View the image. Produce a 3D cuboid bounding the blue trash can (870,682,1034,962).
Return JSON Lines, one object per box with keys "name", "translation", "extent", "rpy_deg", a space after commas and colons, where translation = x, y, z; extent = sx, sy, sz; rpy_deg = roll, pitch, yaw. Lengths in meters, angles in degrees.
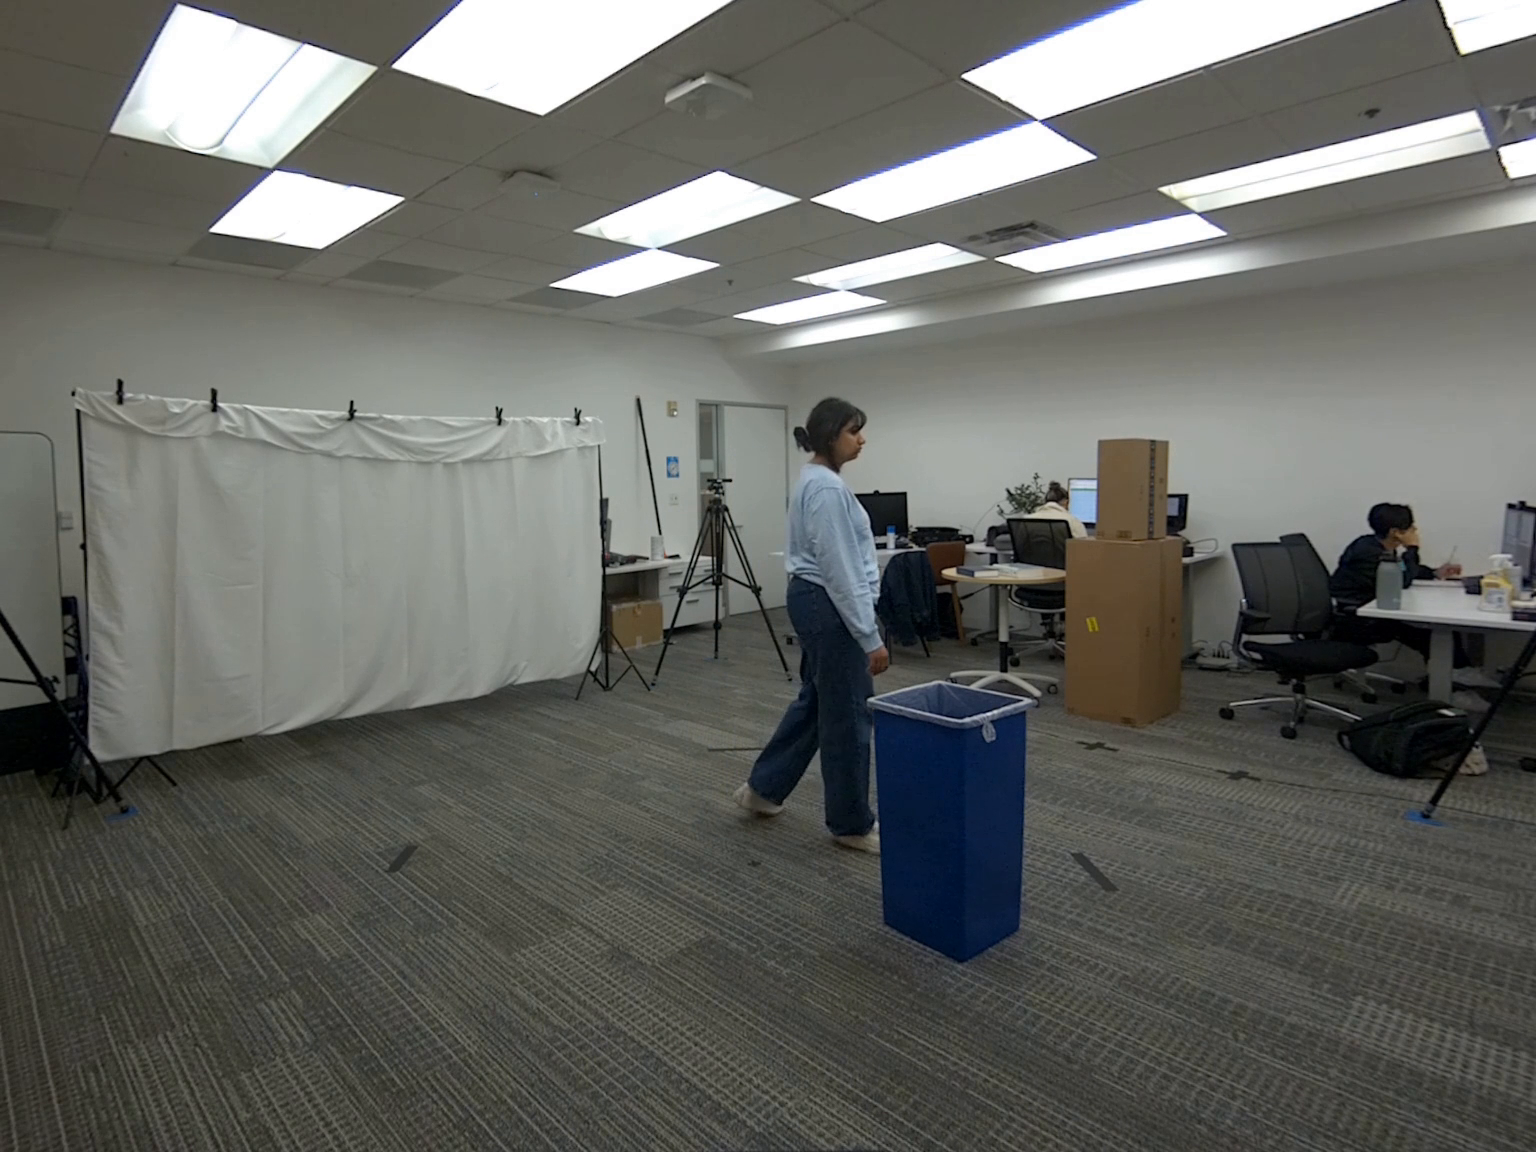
{"name": "blue trash can", "translation": [0.567, 0.732, 2.639], "extent": [0.364, 0.711, 0.389], "rpy_deg": [-5, 5, -41]}
